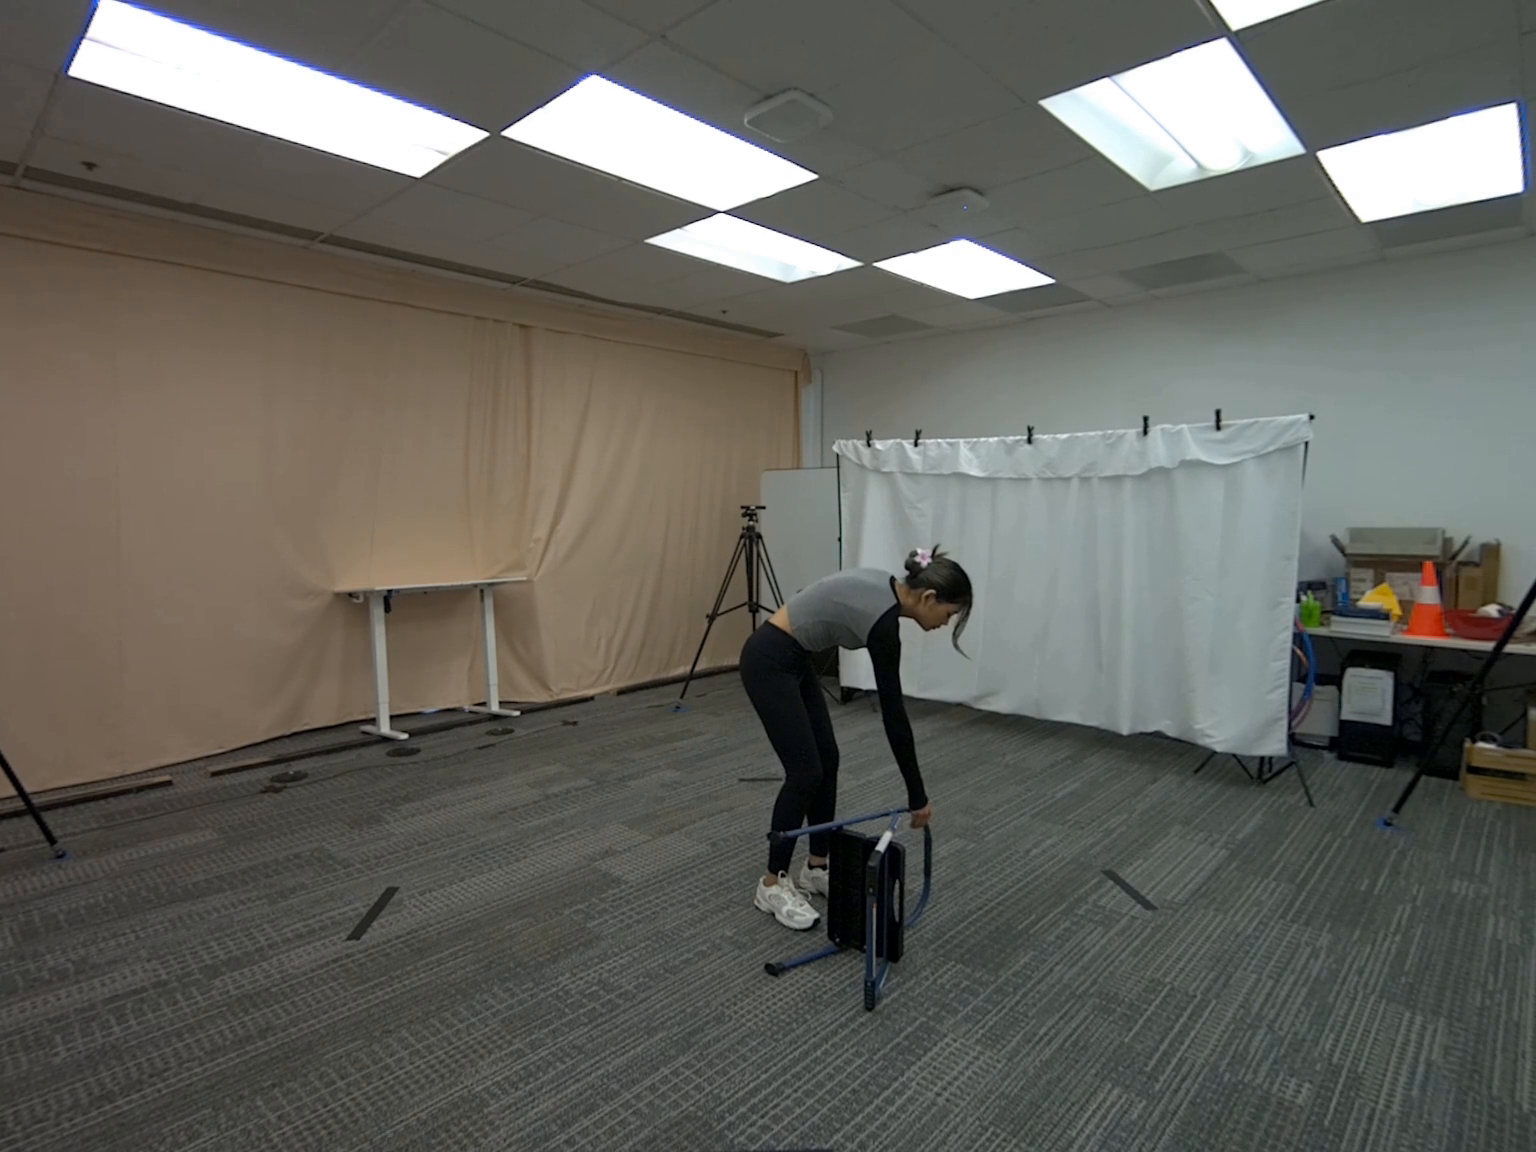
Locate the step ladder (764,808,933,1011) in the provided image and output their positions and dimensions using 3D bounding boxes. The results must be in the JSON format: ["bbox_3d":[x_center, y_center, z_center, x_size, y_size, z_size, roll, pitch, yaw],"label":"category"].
[{"bbox_3d":[0.313,0.965,2.626,0.360,0.430,0.588,4,5,36],"label":"step ladder"}]
